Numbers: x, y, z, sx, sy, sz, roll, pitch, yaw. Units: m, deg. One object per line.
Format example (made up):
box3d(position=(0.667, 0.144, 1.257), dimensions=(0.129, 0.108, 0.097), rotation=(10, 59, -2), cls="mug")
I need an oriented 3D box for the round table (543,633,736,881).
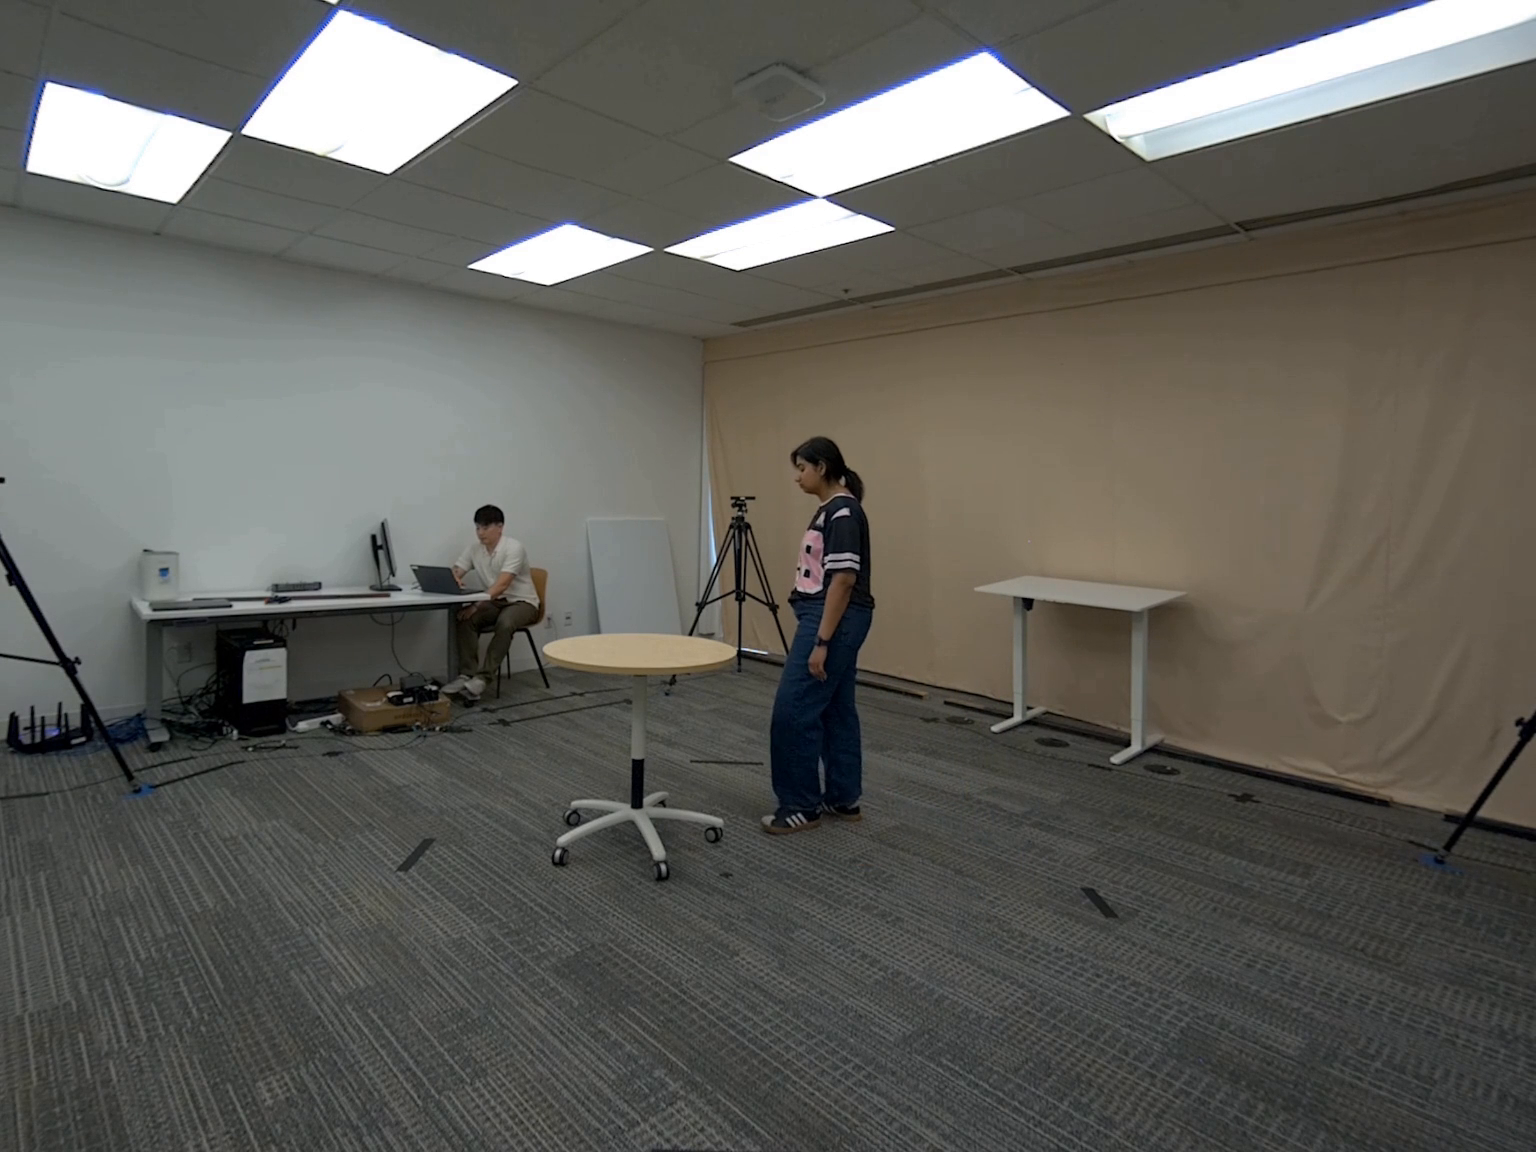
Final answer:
box3d(position=(-0.531, 0.684, 3.365), dimensions=(0.763, 0.792, 0.766), rotation=(2, 4, -1), cls="round table")
